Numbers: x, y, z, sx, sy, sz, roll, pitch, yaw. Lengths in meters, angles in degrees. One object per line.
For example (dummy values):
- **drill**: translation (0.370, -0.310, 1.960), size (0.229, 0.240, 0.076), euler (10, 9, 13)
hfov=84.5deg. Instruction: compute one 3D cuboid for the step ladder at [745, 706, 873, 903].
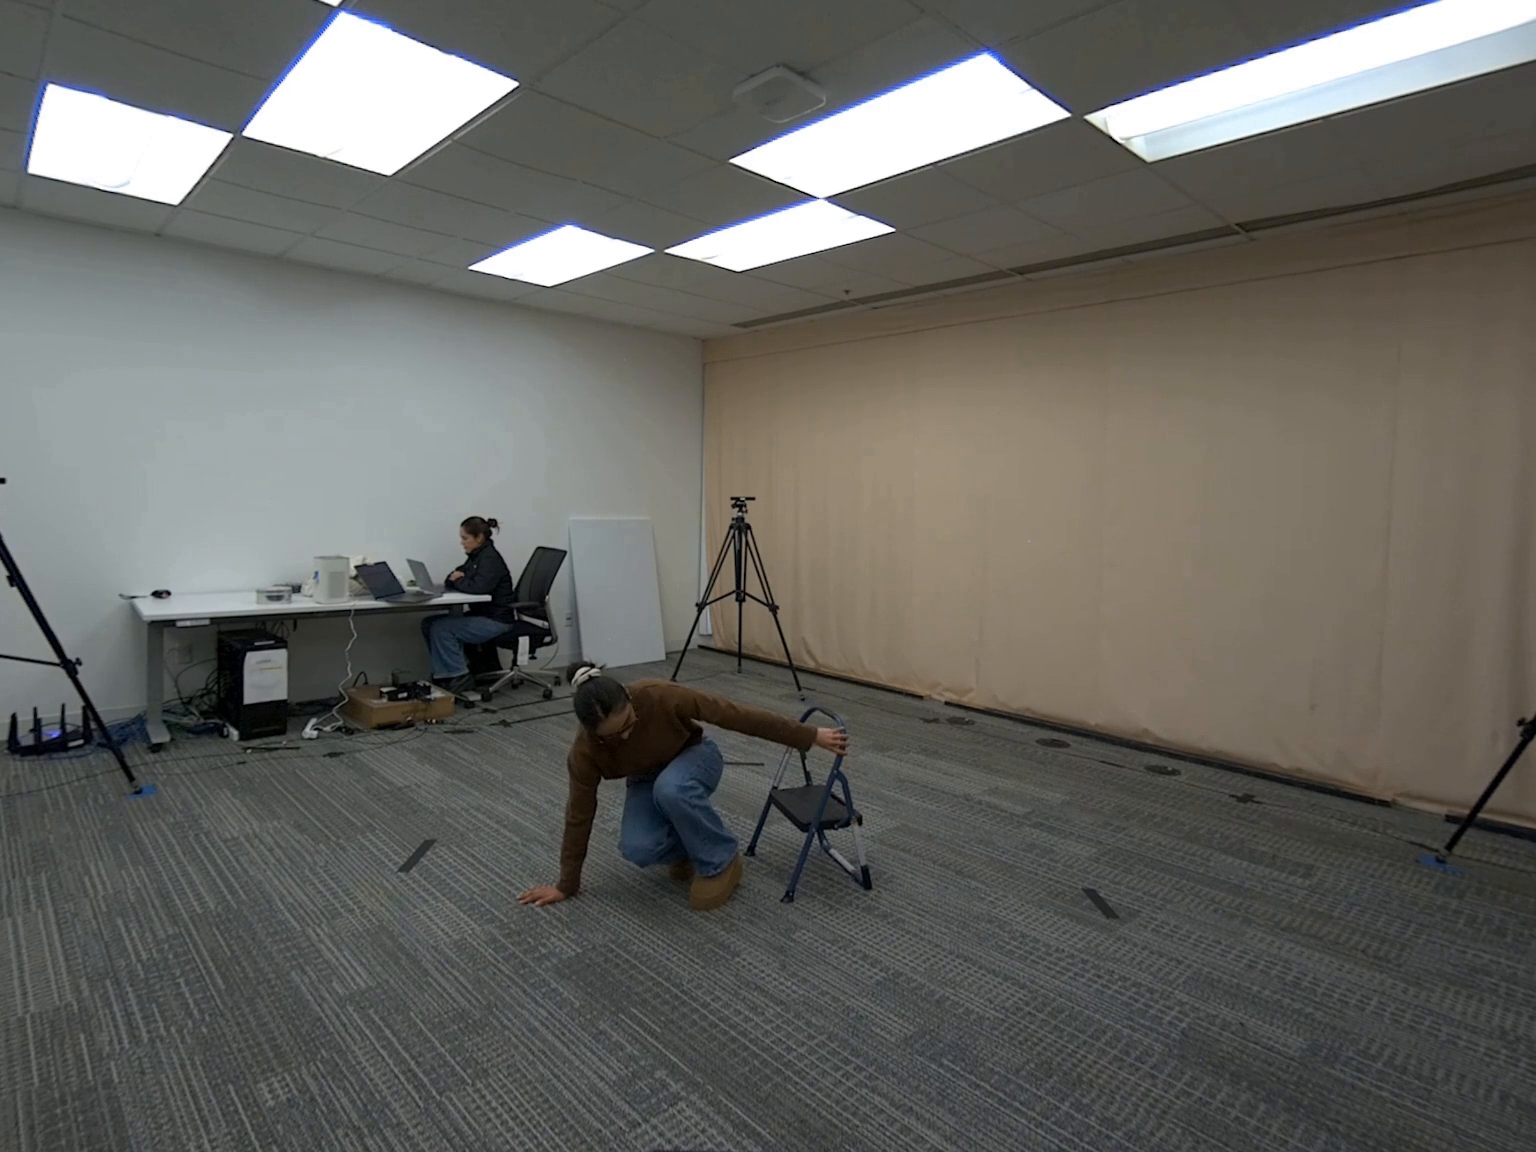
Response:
- **step ladder**: translation (0.141, 0.808, 3.137), size (0.344, 0.604, 0.438), euler (0, 4, -20)
